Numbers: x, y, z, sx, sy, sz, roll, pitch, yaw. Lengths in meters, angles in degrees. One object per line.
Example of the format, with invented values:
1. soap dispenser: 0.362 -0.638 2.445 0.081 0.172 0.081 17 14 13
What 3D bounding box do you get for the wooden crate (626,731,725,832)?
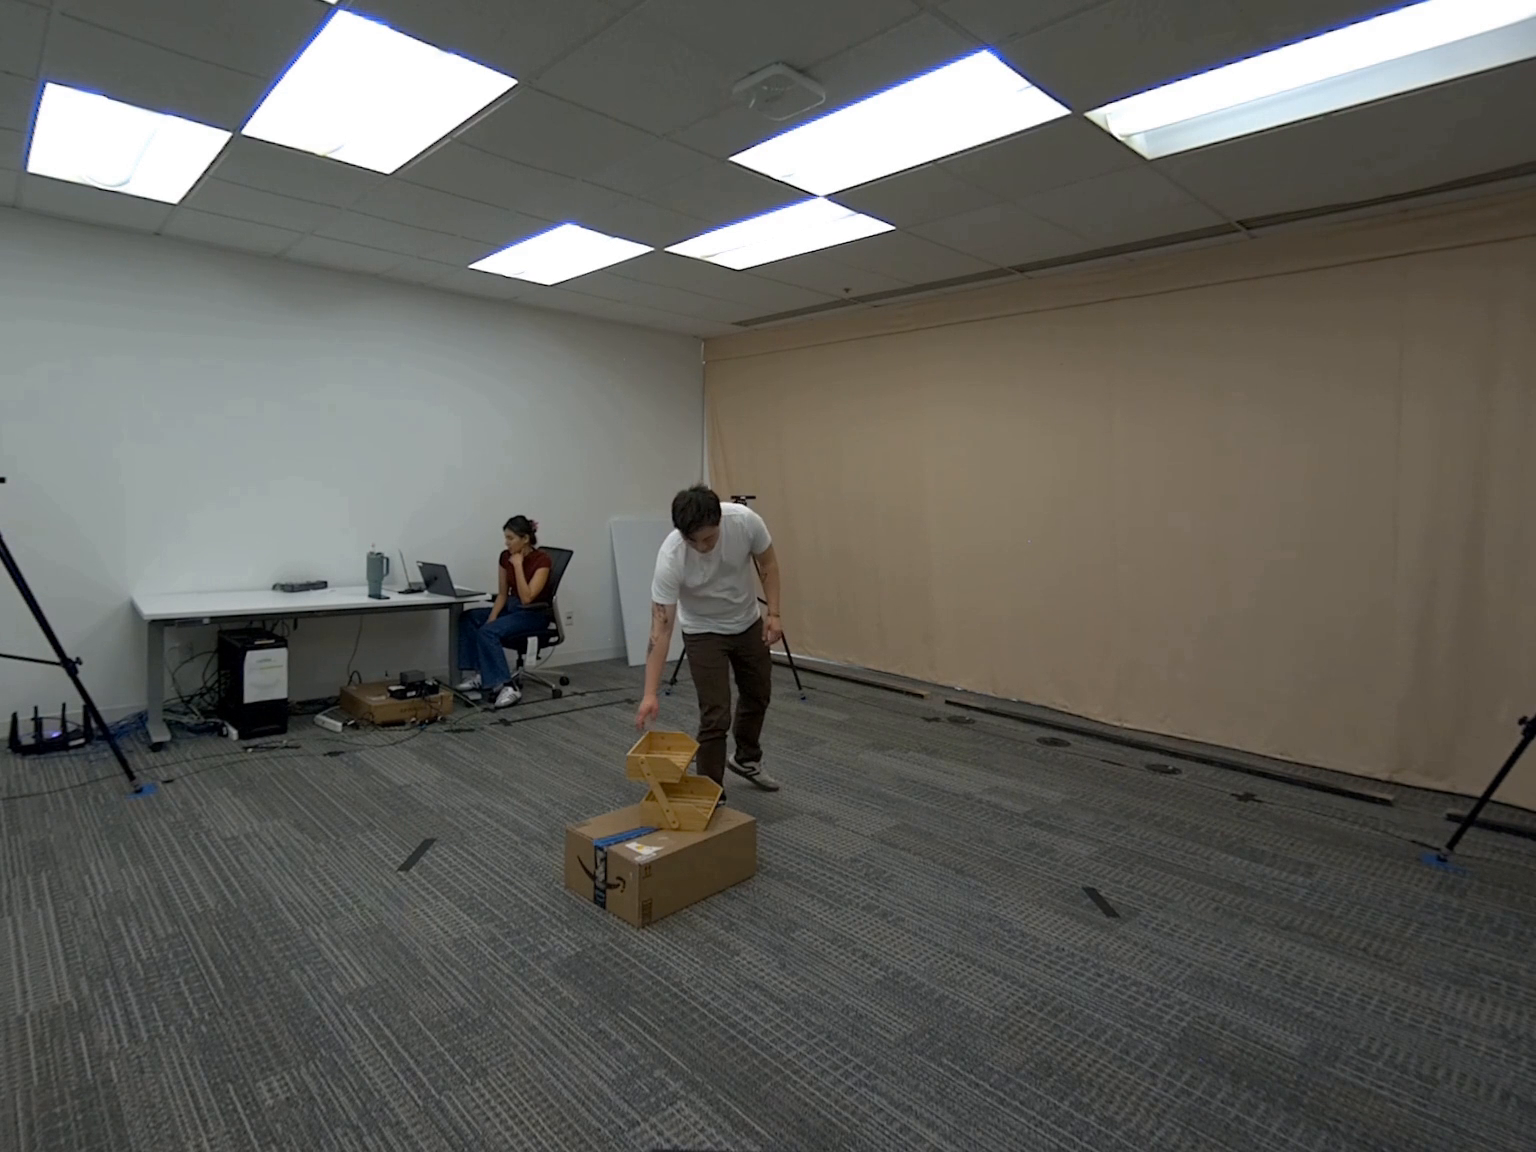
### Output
1. wooden crate: -0.345 0.752 3.122 0.304 0.272 0.323 1 6 8
